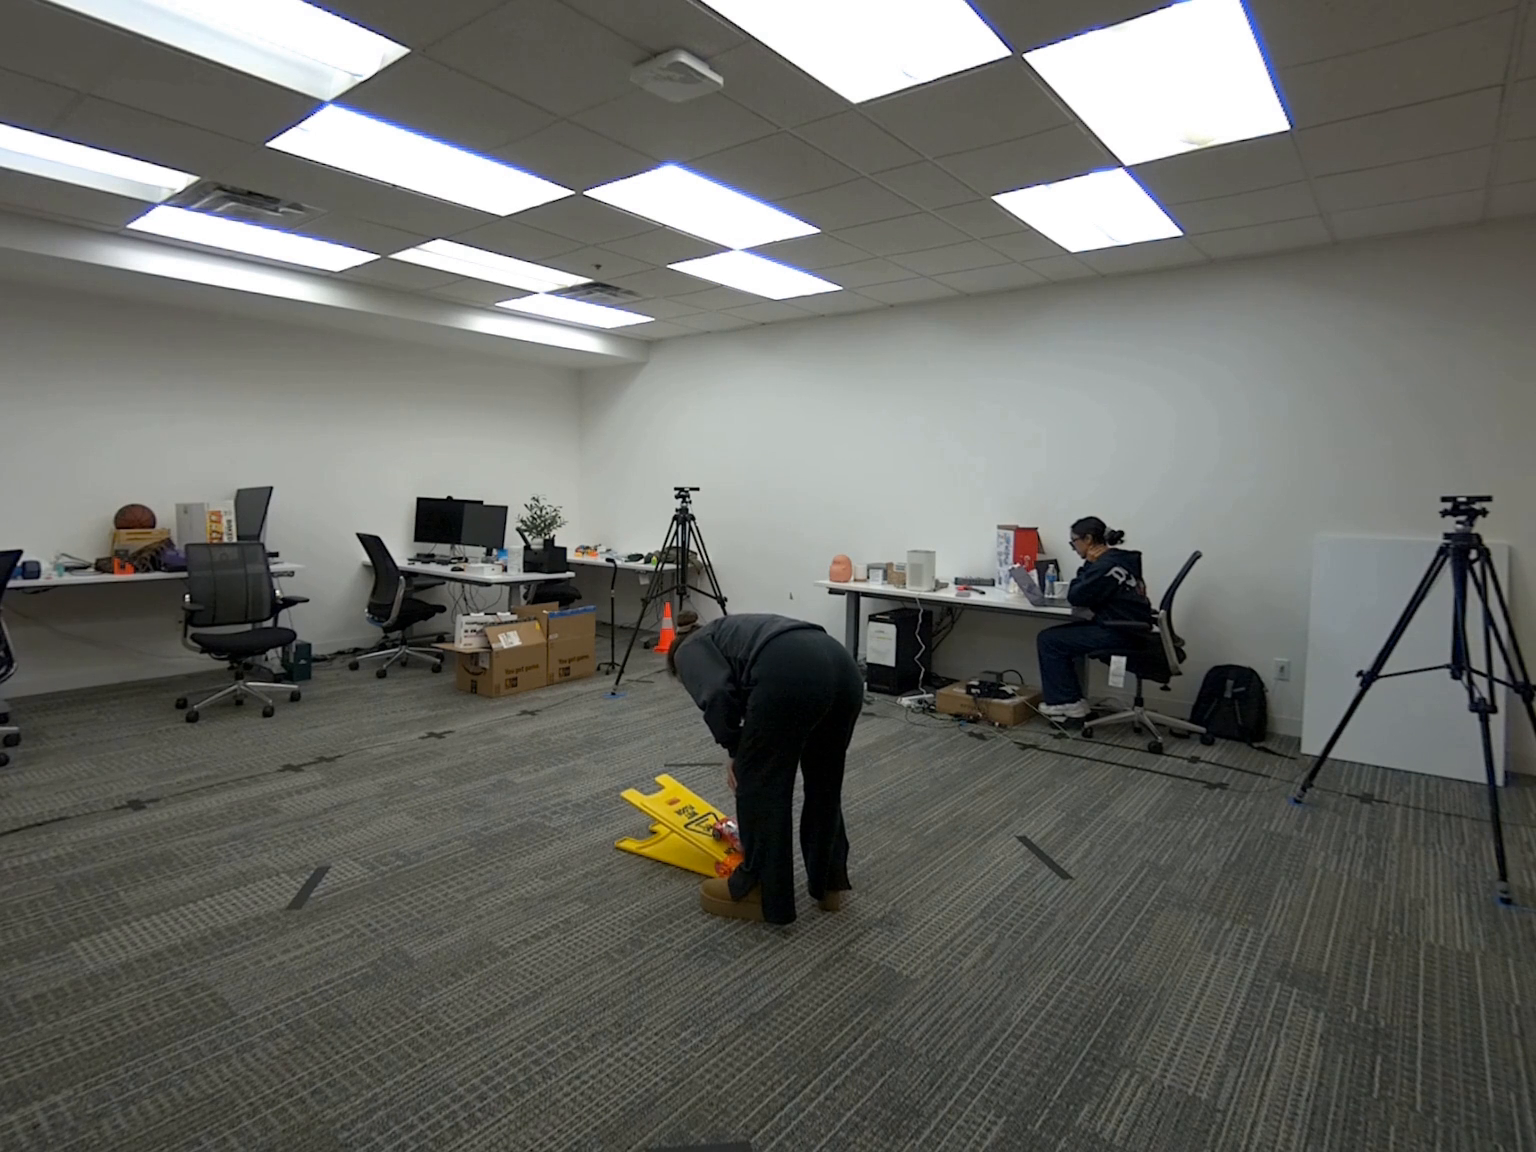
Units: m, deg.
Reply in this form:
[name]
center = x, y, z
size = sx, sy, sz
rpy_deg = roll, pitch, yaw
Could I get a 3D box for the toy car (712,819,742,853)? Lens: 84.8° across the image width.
[toy car]
center = -0.085, 0.962, 3.079
size = 0.264, 0.082, 0.127
rpy_deg = 13, 12, 35
